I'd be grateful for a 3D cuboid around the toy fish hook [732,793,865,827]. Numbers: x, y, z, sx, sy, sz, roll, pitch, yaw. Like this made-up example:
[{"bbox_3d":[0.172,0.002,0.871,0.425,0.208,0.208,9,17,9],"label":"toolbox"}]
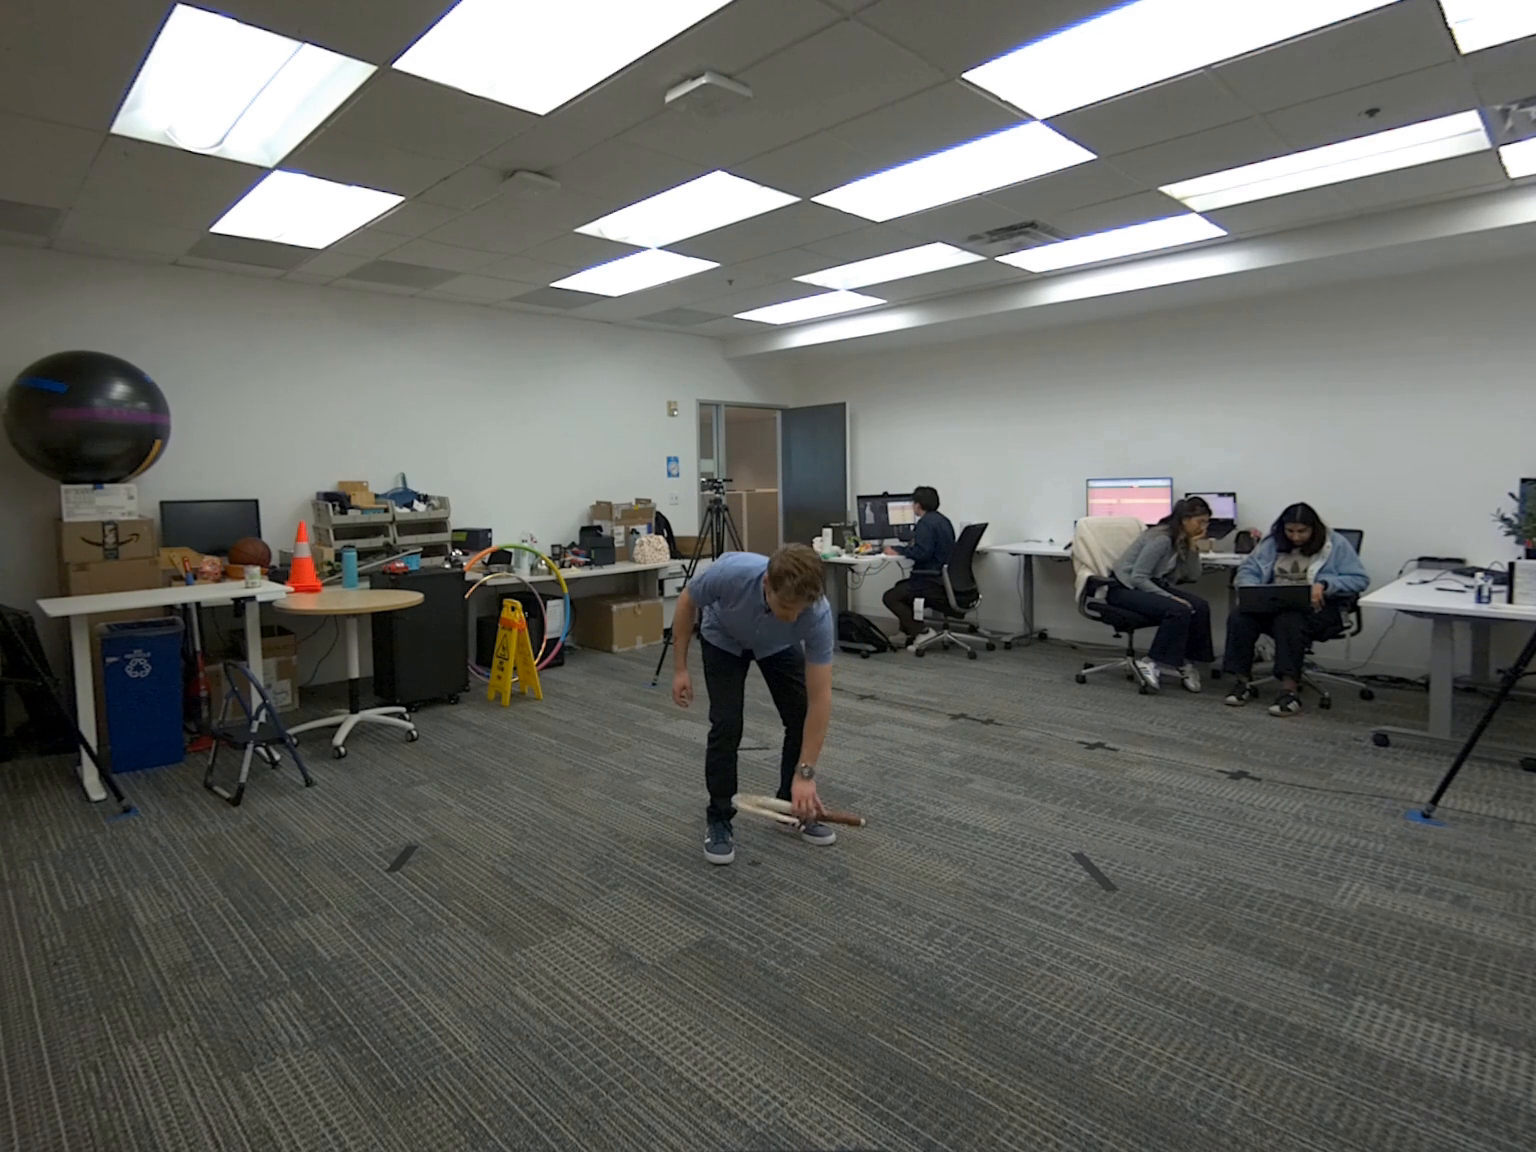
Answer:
[{"bbox_3d":[0.150,0.807,2.854,0.497,0.048,0.229,13,2,-18],"label":"toy fish hook"}]
